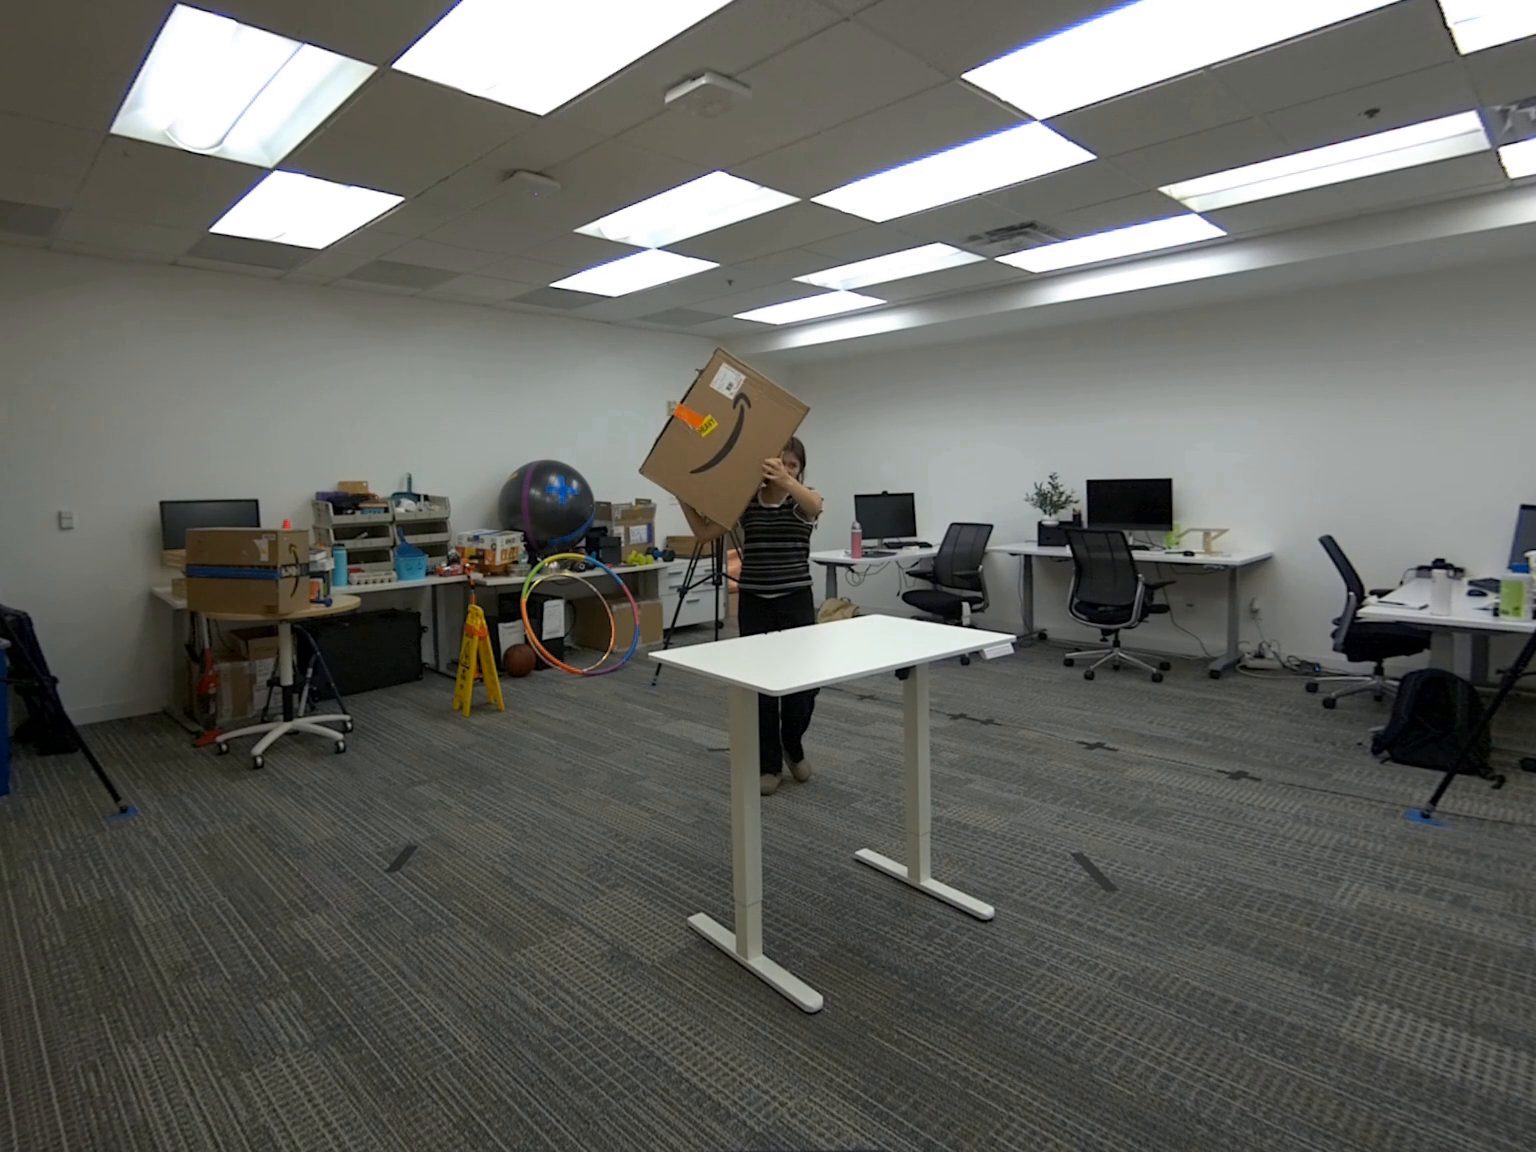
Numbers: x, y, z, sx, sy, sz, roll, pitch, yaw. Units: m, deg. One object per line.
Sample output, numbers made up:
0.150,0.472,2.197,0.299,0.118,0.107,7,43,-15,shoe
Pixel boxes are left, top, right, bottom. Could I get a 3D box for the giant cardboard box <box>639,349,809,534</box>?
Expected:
-0.219,-0.613,3.776,0.422,0.577,1.037,32,5,-9,giant cardboard box
